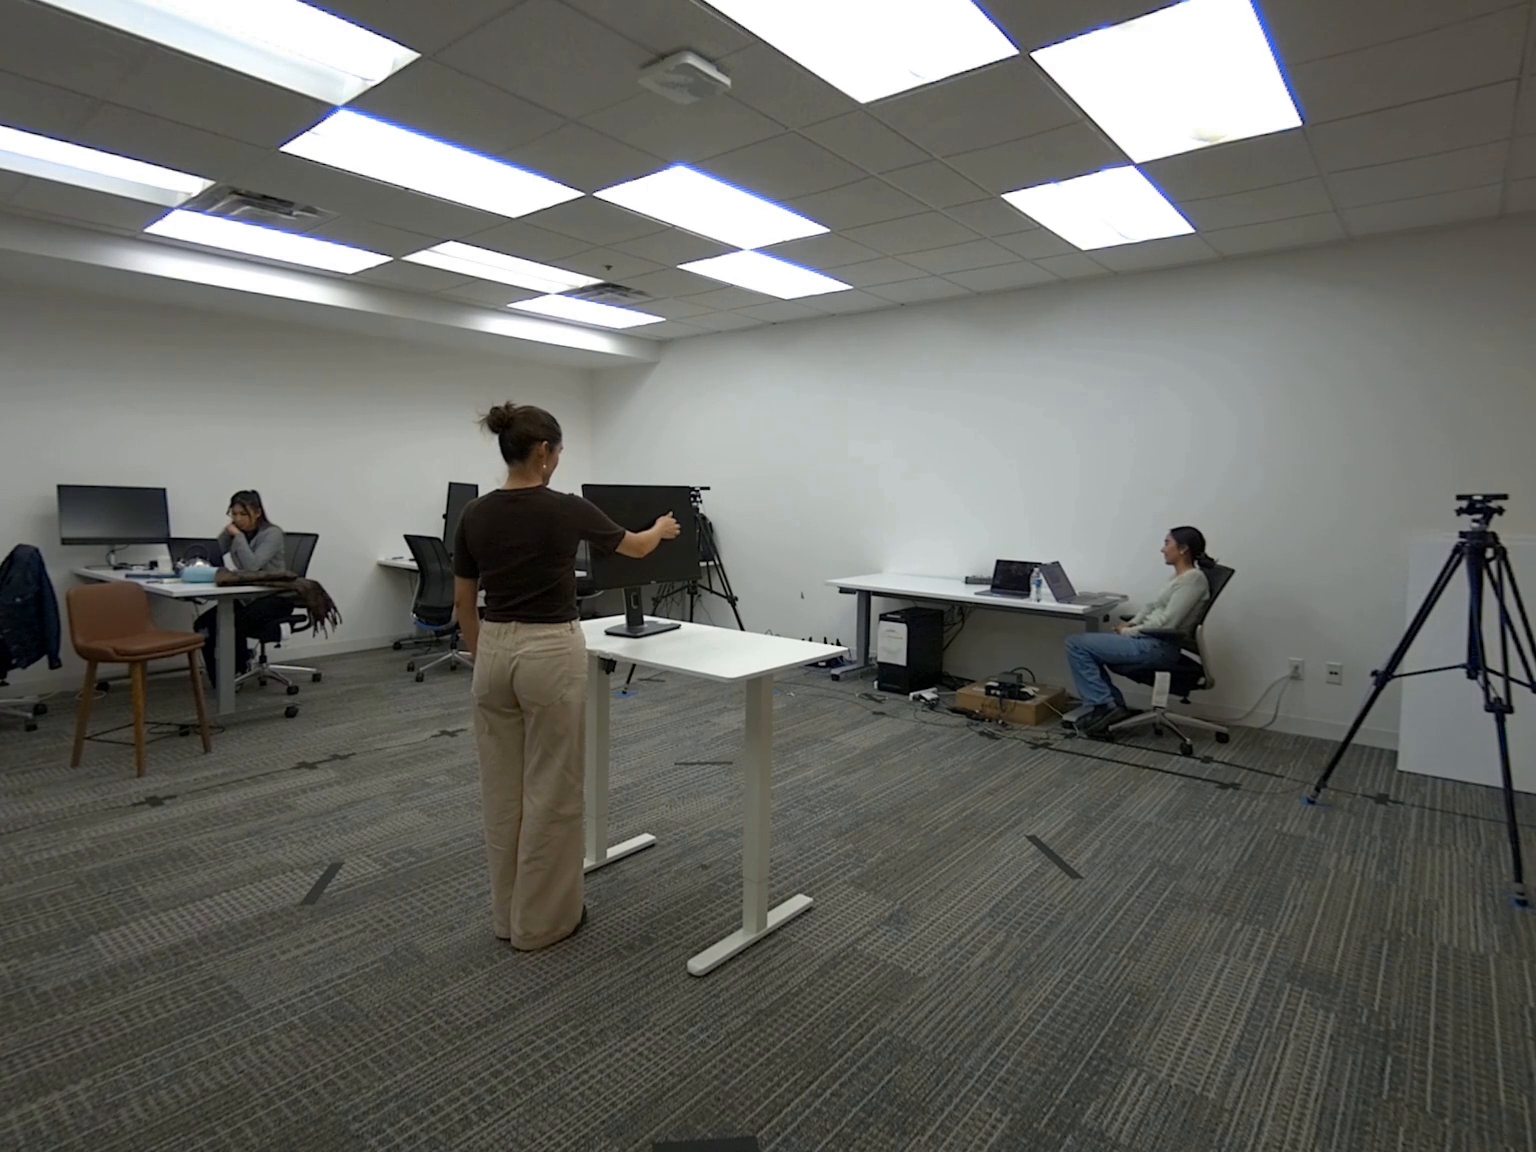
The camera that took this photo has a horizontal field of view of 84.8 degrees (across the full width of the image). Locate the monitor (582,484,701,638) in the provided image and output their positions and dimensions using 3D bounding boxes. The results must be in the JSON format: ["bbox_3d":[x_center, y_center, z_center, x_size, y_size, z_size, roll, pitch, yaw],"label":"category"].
[{"bbox_3d":[-0.457,-0.059,2.987,0.193,0.521,0.524,3,5,35],"label":"monitor"}]
